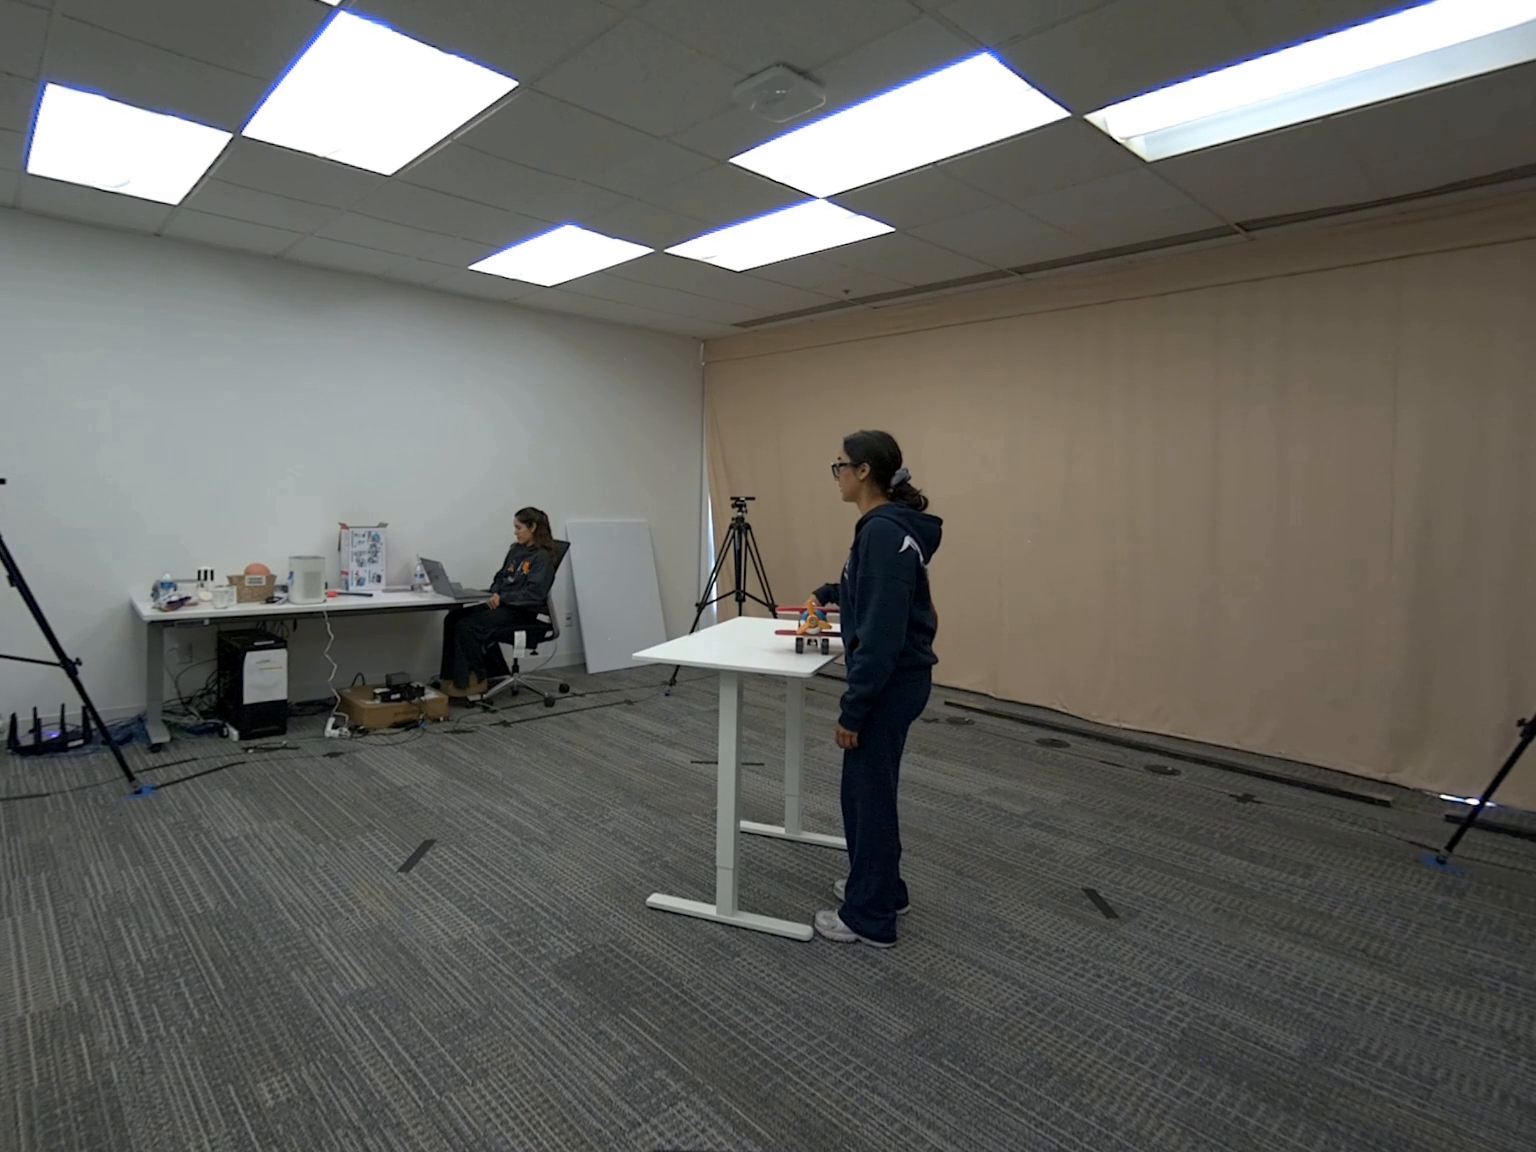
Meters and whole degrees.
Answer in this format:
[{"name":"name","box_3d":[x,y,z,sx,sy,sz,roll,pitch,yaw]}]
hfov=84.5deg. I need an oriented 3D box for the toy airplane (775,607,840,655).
[{"name":"toy airplane","box_3d":[0.126,0.176,2.897,0.246,0.156,0.265,-1,5,-25]}]
